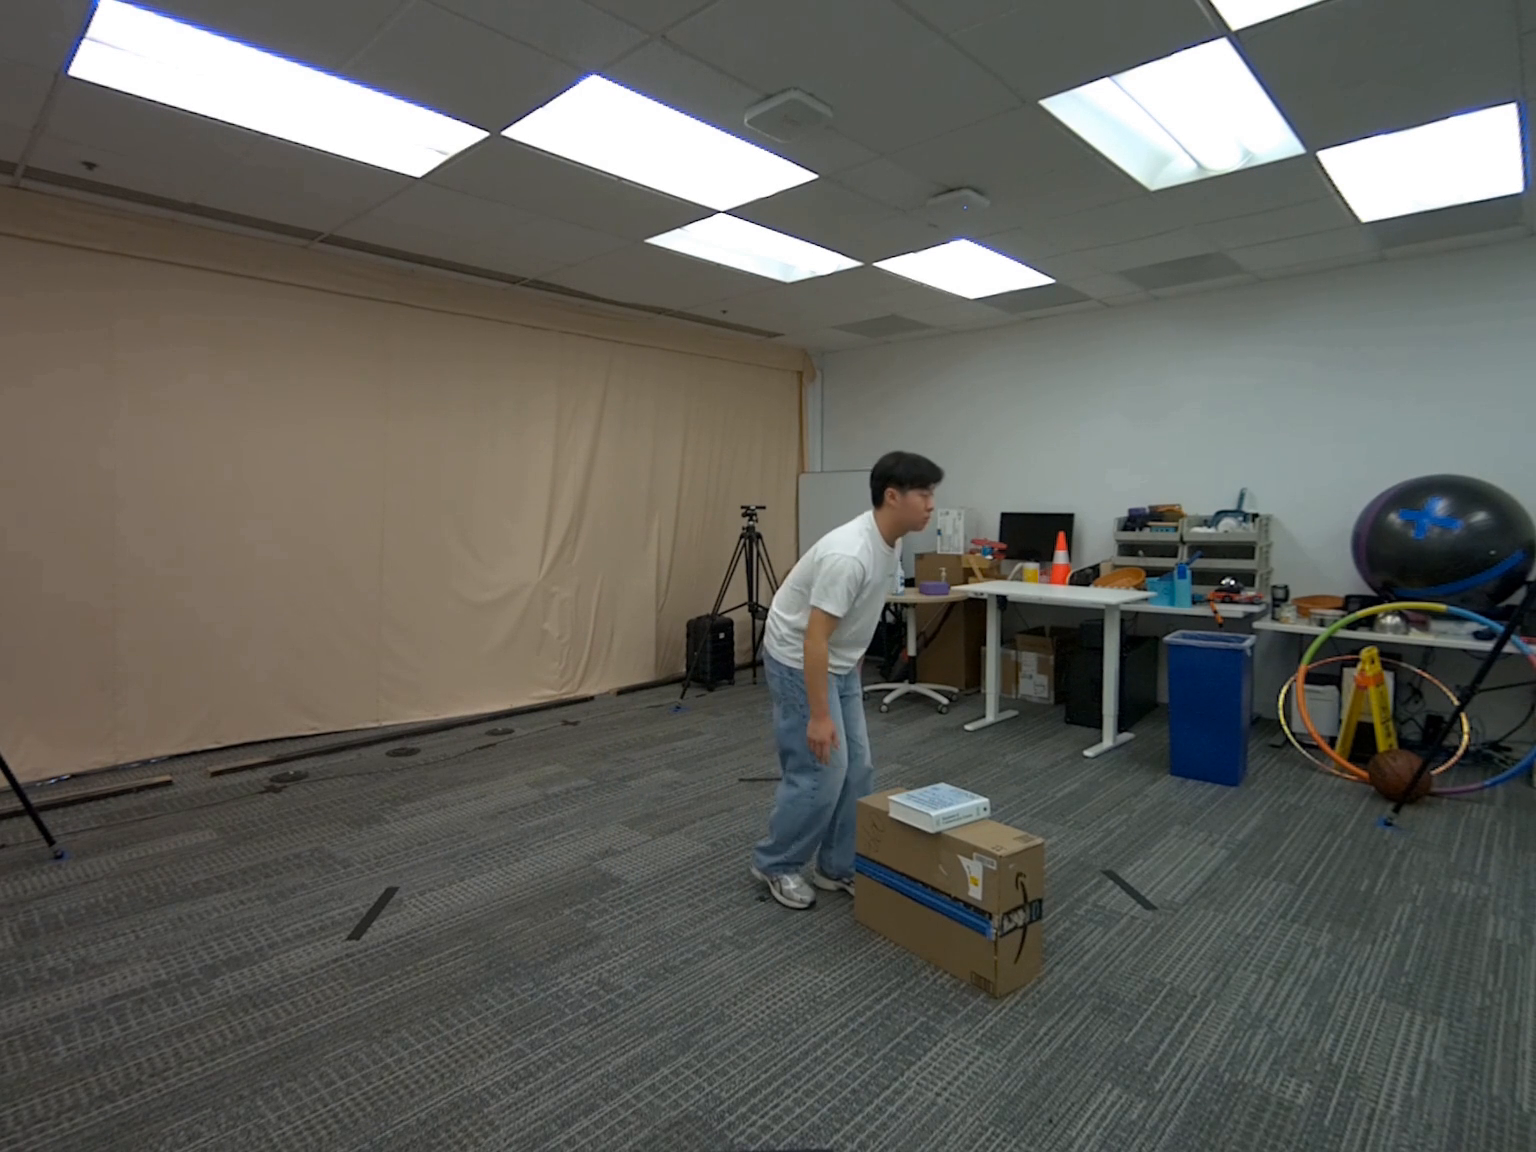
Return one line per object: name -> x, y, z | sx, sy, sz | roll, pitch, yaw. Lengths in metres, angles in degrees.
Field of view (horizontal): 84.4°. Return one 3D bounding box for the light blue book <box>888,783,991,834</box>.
light blue book -> 0.544, 0.726, 2.642 | 0.253, 0.059, 0.197 | -3, 5, -36
